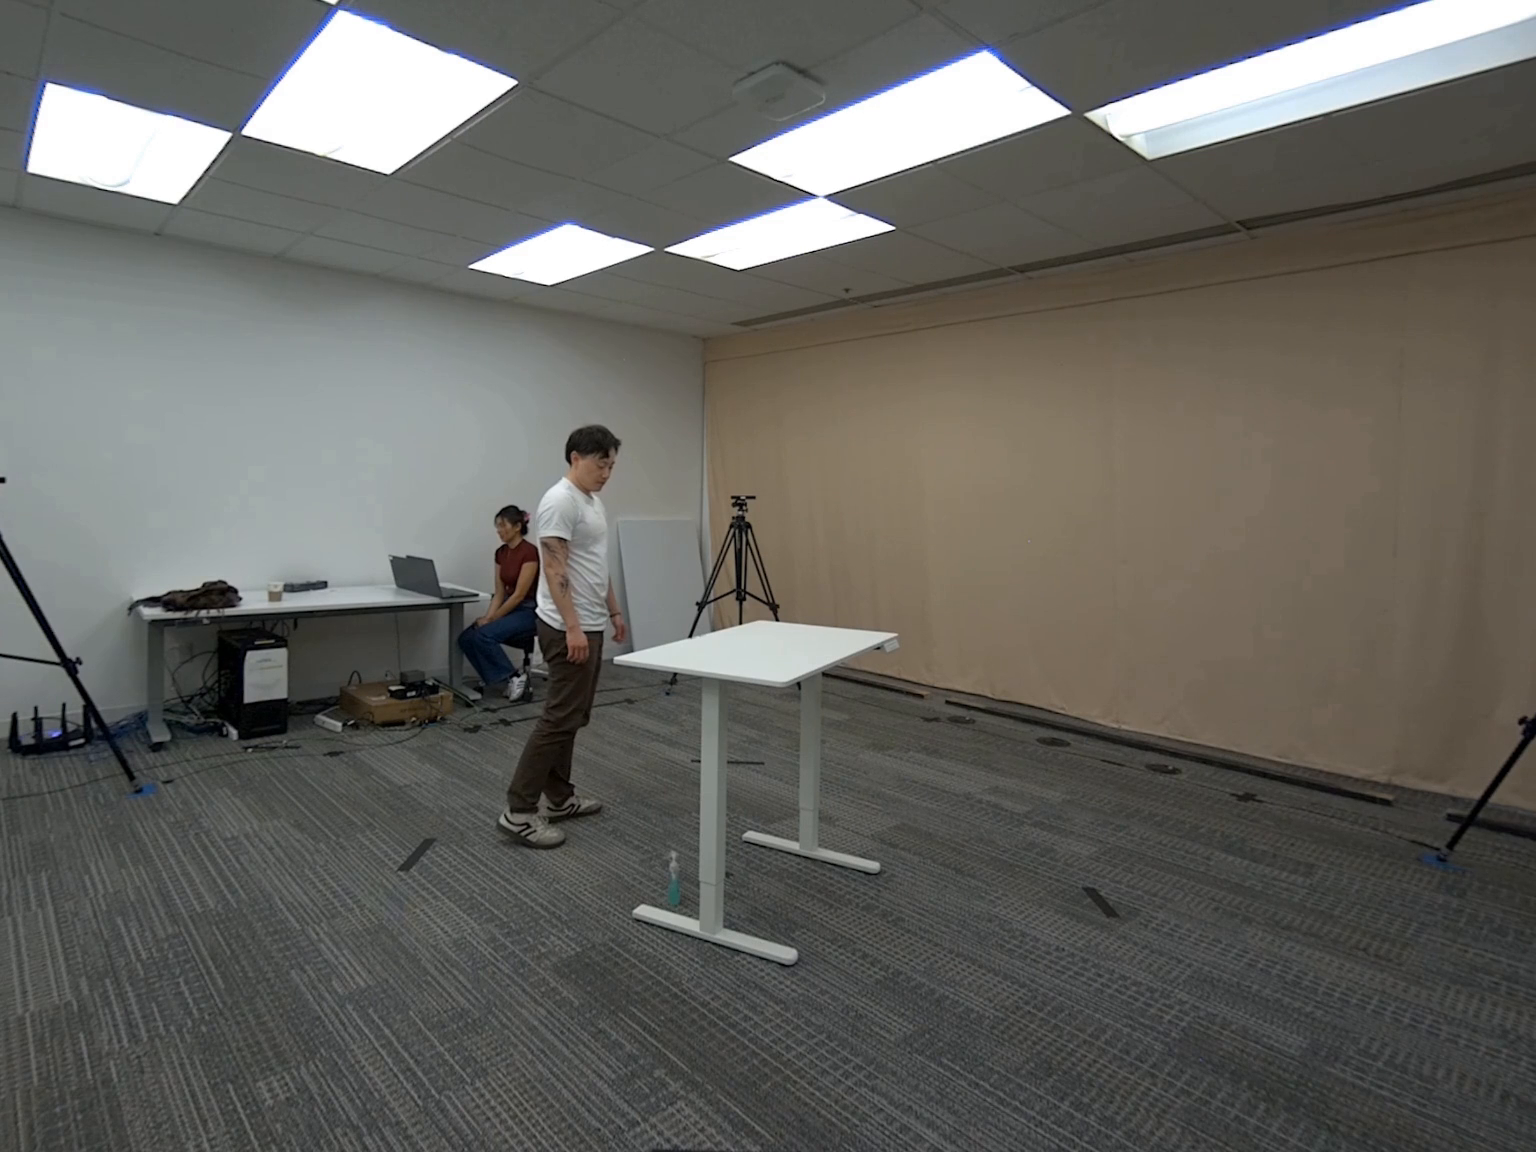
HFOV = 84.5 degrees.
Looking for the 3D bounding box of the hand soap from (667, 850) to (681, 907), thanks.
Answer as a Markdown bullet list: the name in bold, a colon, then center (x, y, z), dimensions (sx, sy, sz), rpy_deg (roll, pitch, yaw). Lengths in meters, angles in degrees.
- **hand soap**: center (-0.330, 1.038, 2.886), dimensions (0.043, 0.167, 0.085), rpy_deg (1, 4, -4)
